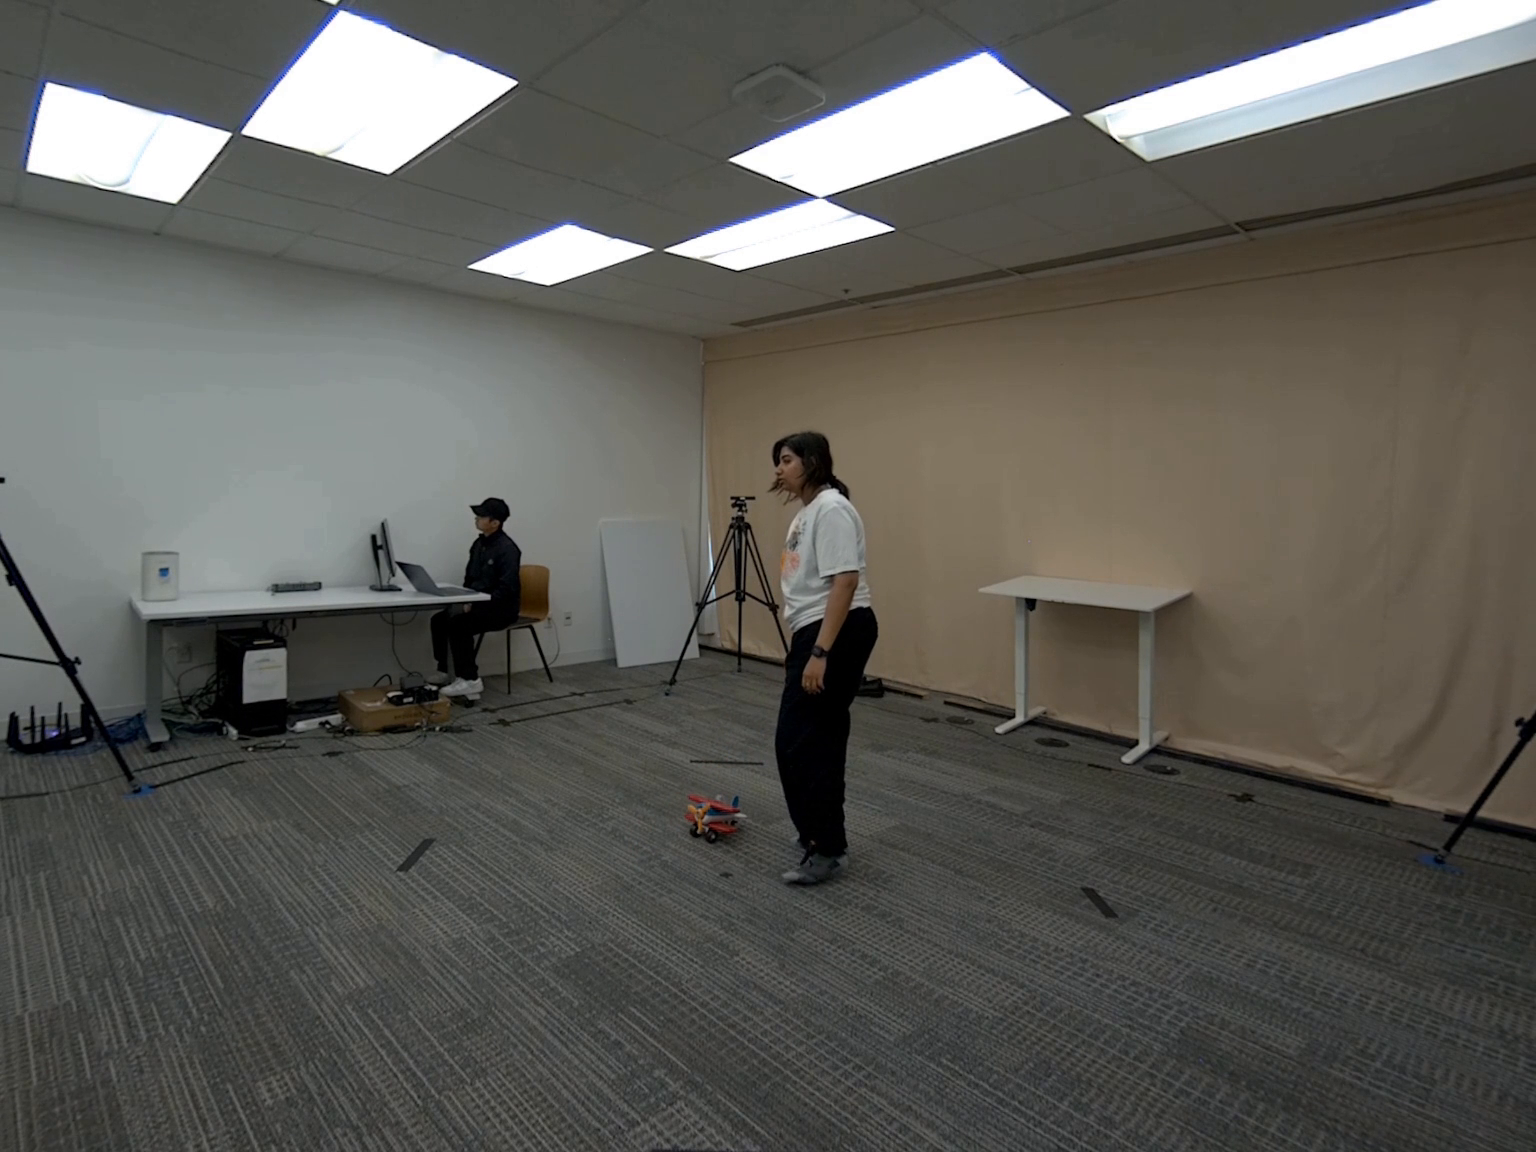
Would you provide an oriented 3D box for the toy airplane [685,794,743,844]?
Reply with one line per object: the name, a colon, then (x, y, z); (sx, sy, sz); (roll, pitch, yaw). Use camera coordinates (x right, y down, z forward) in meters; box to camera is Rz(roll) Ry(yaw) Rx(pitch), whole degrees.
toy airplane: (-0.231, 0.984, 3.496); (0.253, 0.156, 0.258); (1, 6, 10)
